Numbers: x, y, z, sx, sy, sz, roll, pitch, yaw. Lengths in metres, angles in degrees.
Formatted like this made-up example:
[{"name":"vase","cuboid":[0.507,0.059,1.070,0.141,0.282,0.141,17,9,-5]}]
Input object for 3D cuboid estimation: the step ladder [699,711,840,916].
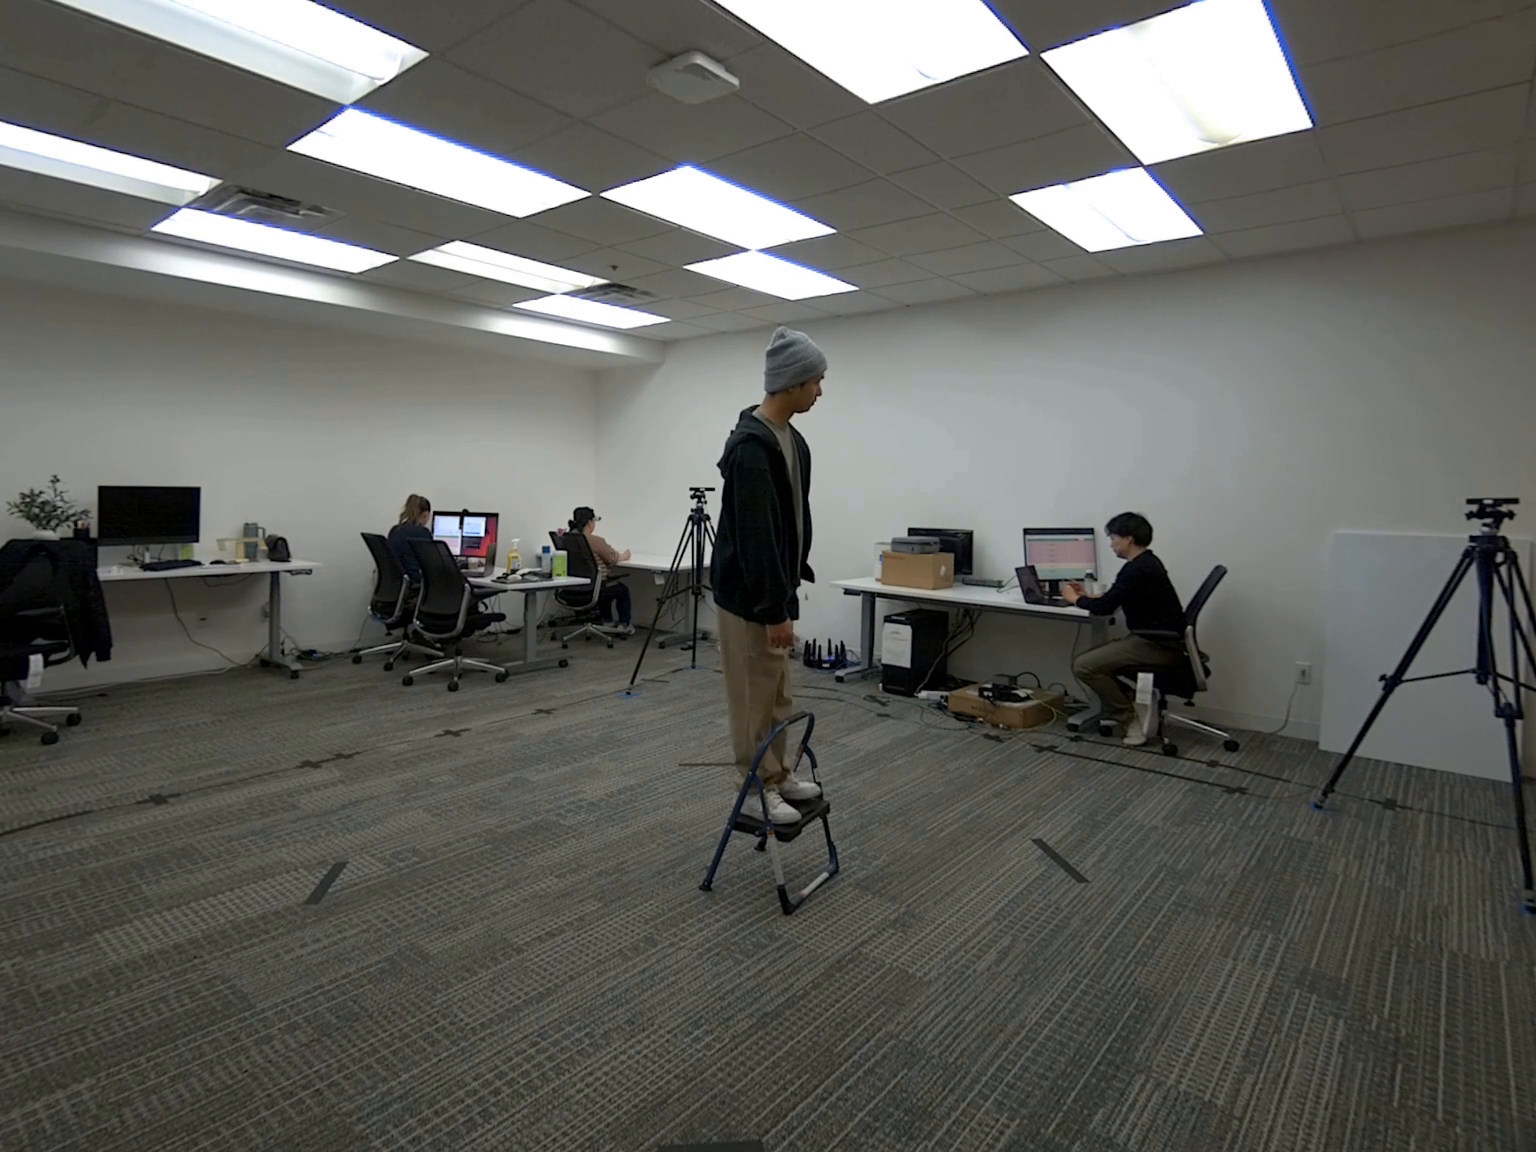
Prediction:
[{"name":"step ladder","cuboid":[0.016,0.779,3.017,0.359,0.604,0.420,4,4,29]}]
